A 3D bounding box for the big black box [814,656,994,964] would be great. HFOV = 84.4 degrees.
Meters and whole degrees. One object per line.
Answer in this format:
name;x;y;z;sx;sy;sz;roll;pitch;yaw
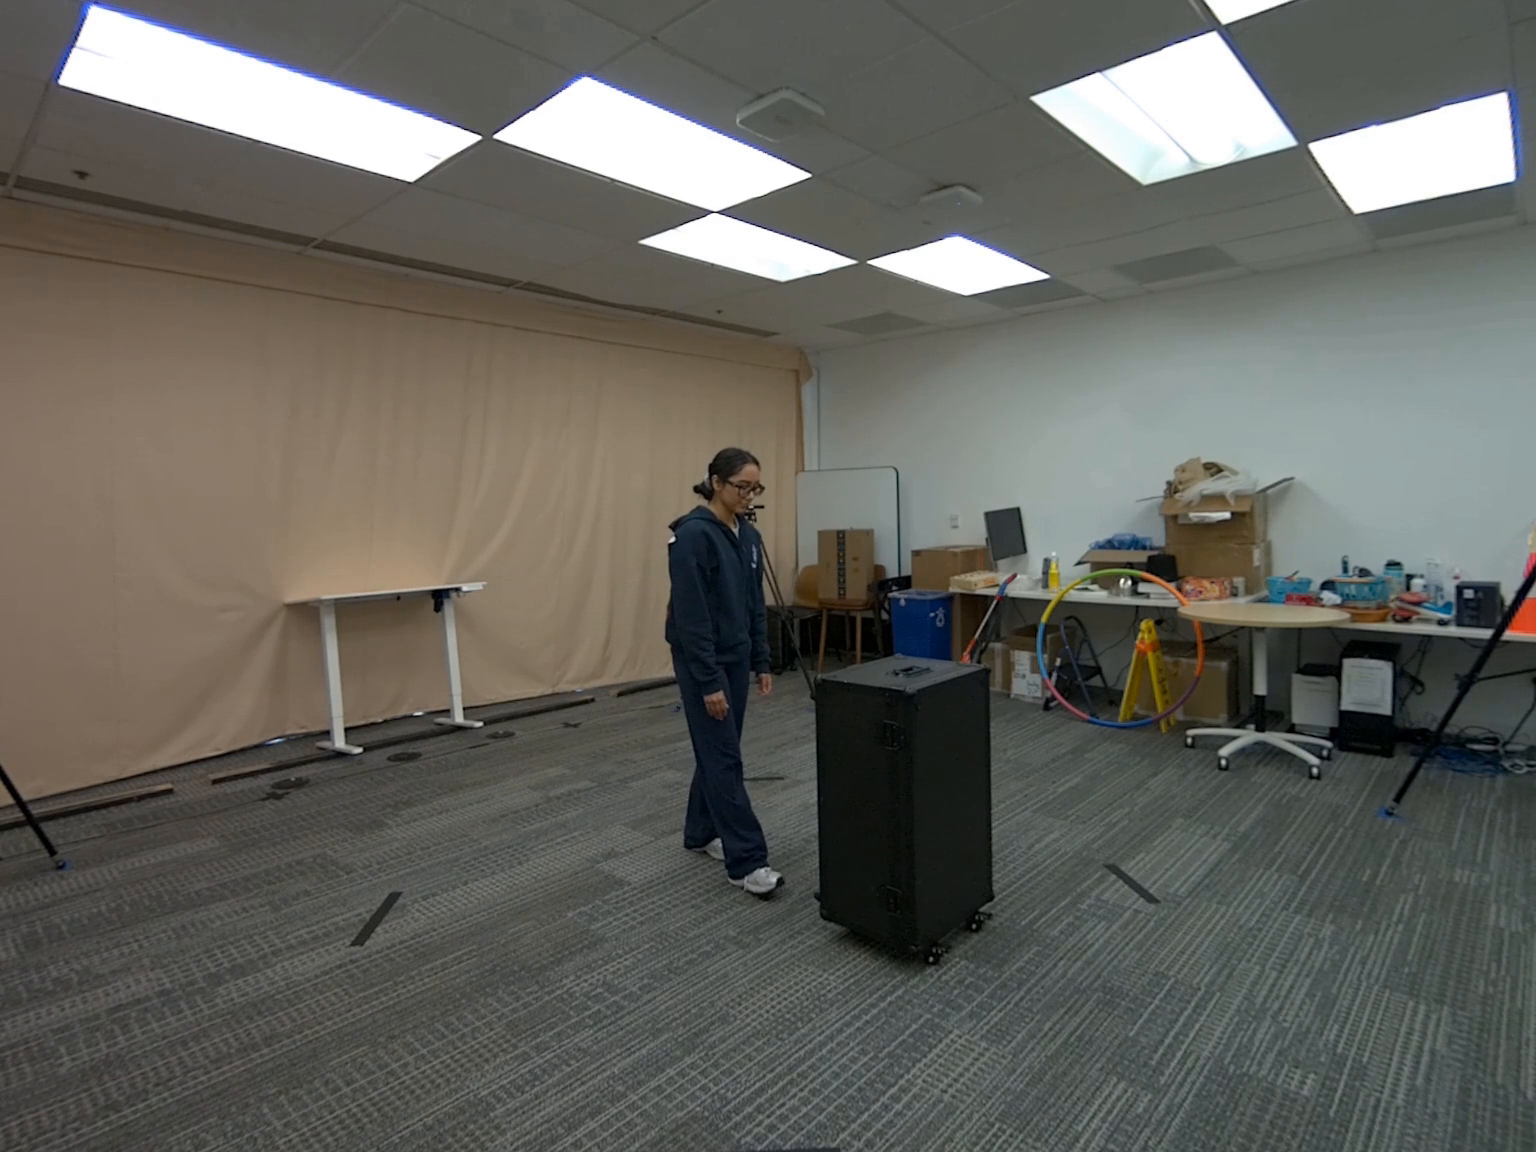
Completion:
big black box;0.443;0.734;2.724;0.409;0.860;0.505;-1;3;43
